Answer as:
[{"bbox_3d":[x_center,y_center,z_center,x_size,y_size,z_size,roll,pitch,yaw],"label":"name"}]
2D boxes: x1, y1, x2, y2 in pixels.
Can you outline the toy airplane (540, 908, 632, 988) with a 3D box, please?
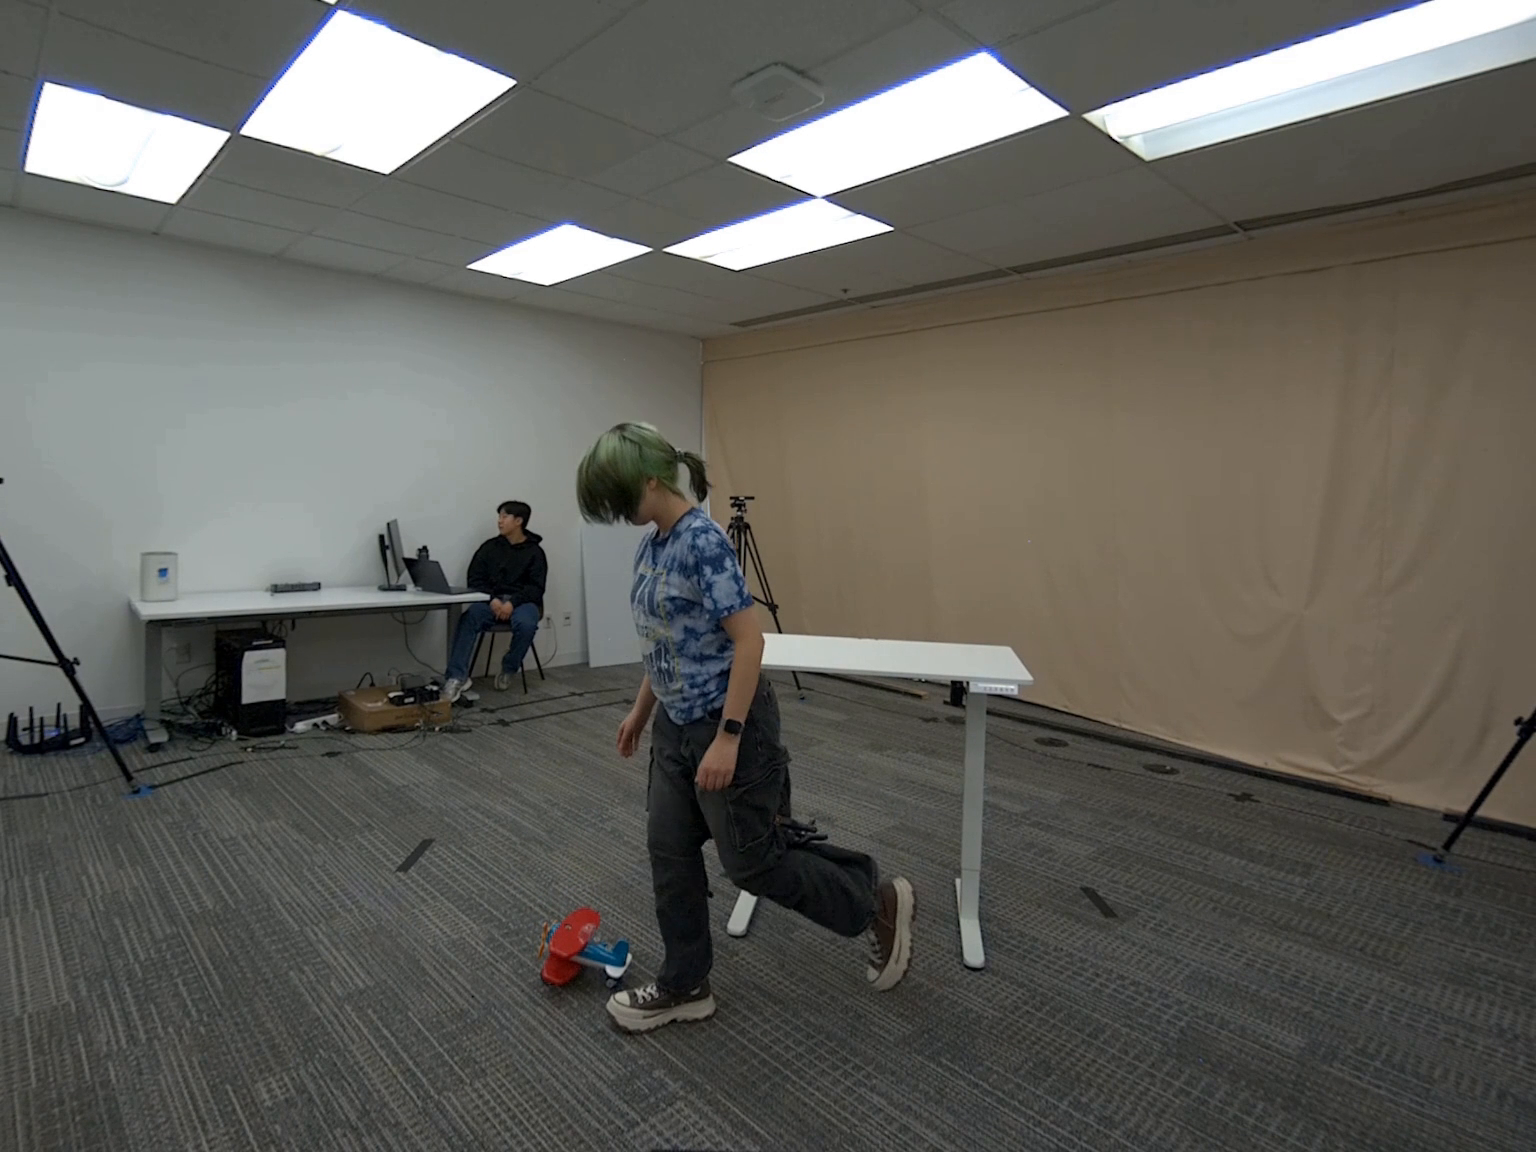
[{"bbox_3d":[-0.530,1.087,2.424,0.256,0.156,0.255,0,5,-17],"label":"toy airplane"}]
